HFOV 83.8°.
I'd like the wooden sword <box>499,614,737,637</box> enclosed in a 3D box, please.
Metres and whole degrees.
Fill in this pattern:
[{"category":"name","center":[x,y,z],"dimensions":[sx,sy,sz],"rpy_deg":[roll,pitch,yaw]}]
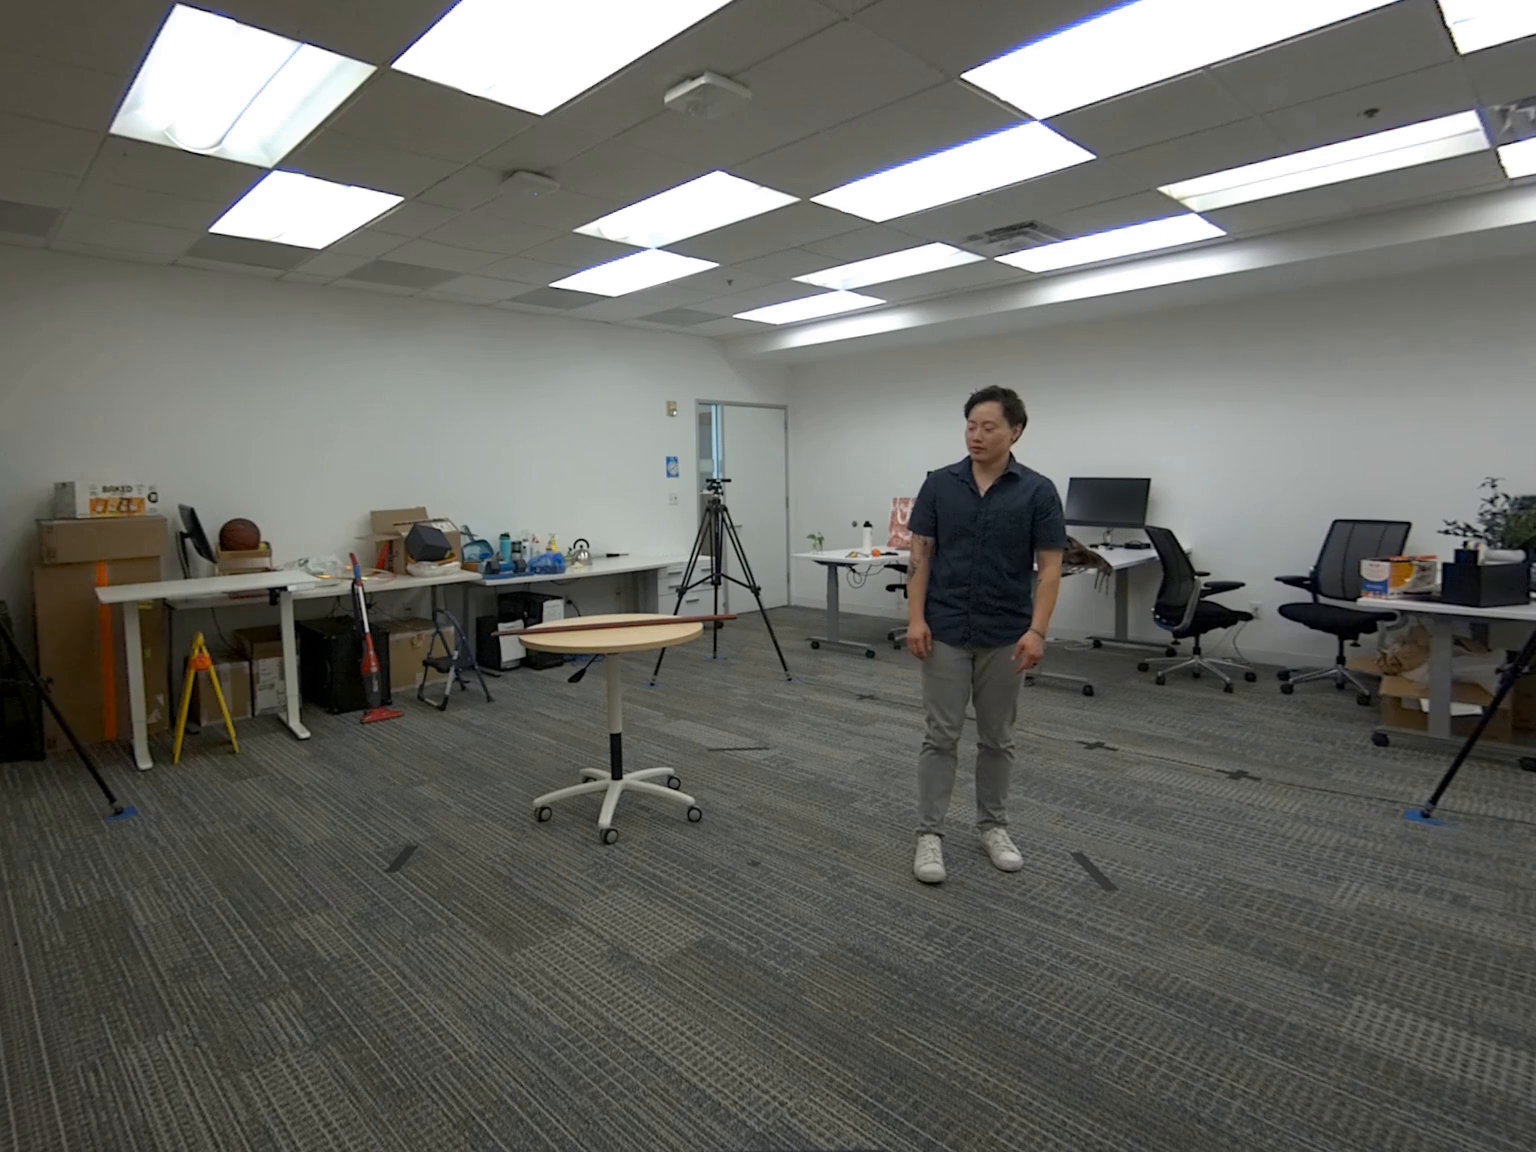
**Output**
[{"category":"wooden sword","center":[-0.600,0.197,3.612],"dimensions":[1.013,0.024,0.052],"rpy_deg":[-3,15,-12]}]
